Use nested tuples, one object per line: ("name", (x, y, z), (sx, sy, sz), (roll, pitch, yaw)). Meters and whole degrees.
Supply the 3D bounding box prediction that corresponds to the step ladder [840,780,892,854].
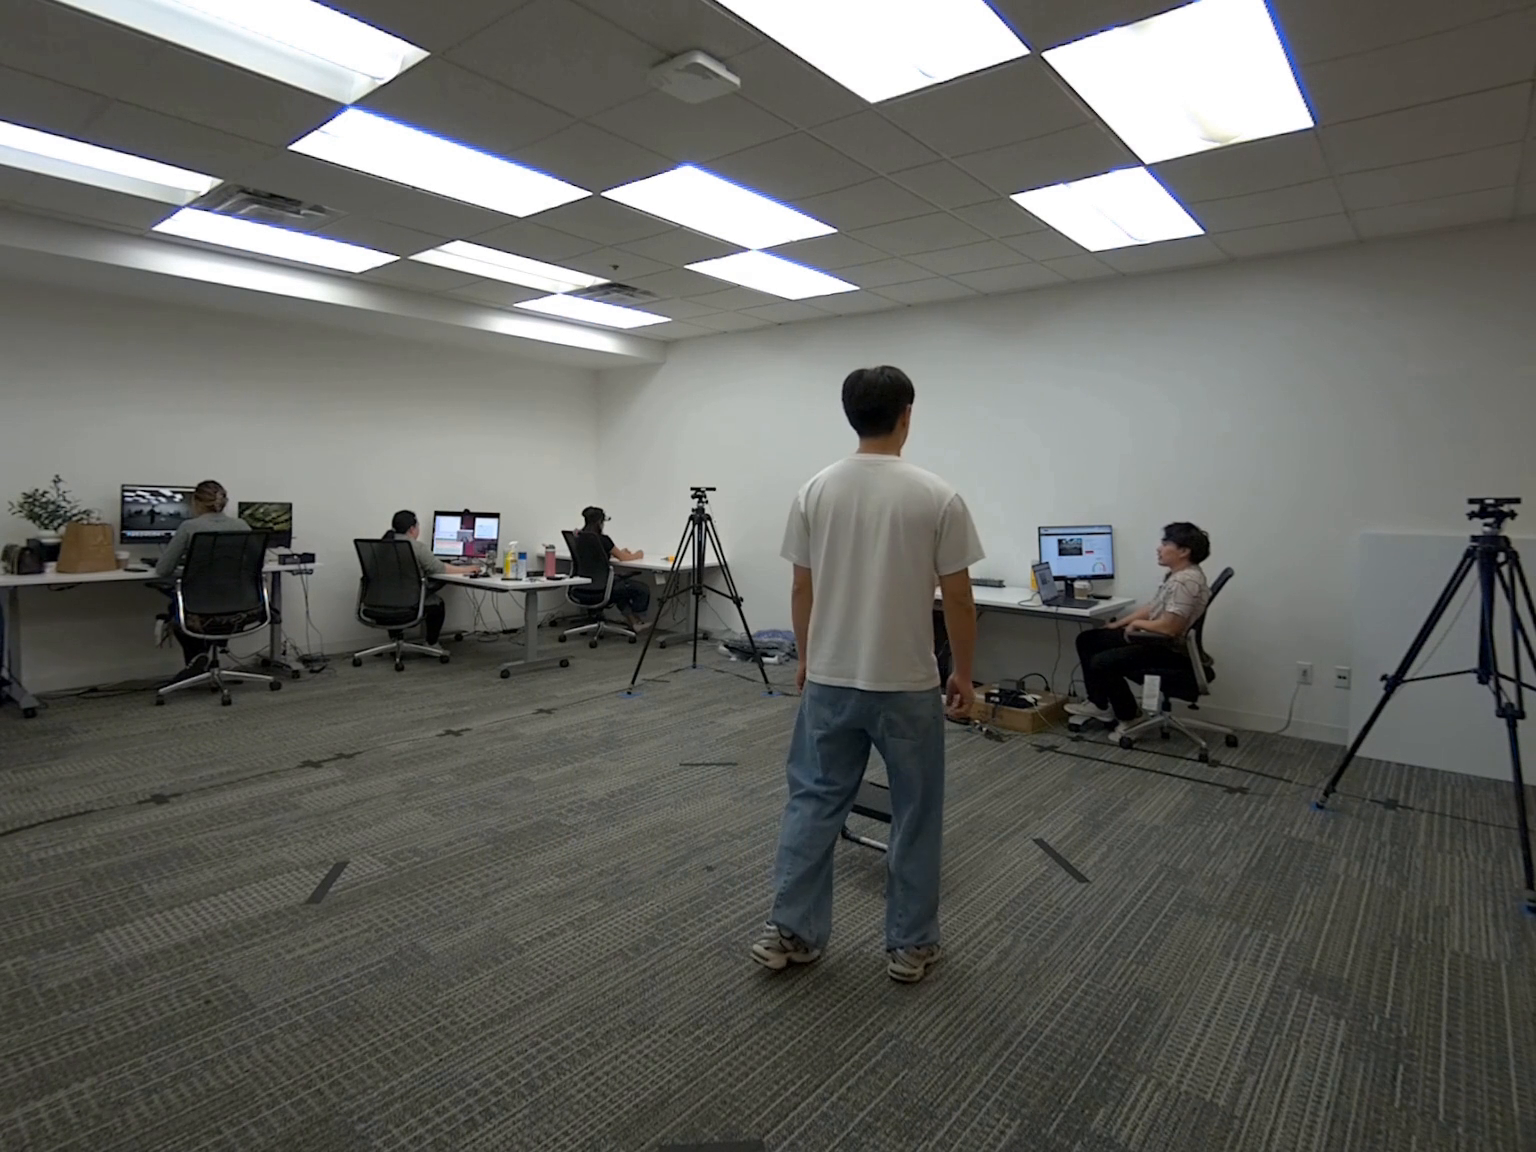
("step ladder", (0.357, 0.763, 3.156), (0.445, 0.604, 0.339), (4, 4, 39))
